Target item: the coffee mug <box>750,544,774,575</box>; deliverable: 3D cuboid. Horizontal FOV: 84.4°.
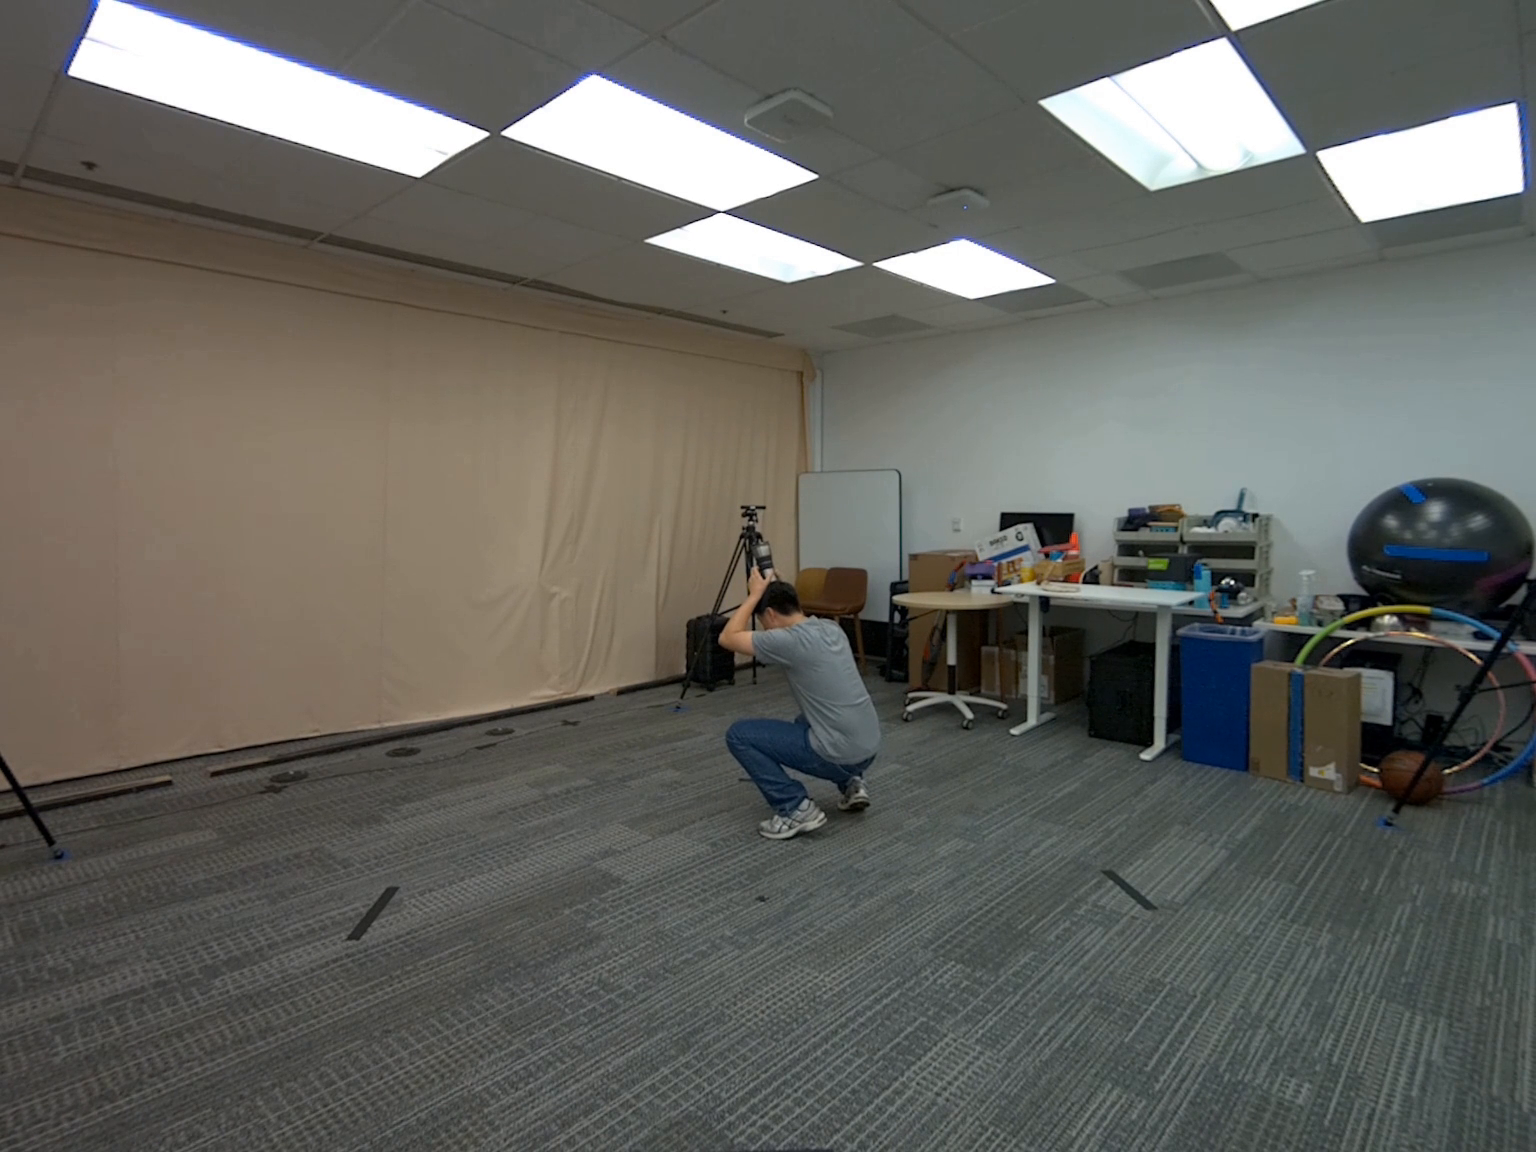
[{"bbox_3d":[-0.024,-0.050,3.858,0.125,0.203,0.085,-15,-3,33],"label":"coffee mug"}]
